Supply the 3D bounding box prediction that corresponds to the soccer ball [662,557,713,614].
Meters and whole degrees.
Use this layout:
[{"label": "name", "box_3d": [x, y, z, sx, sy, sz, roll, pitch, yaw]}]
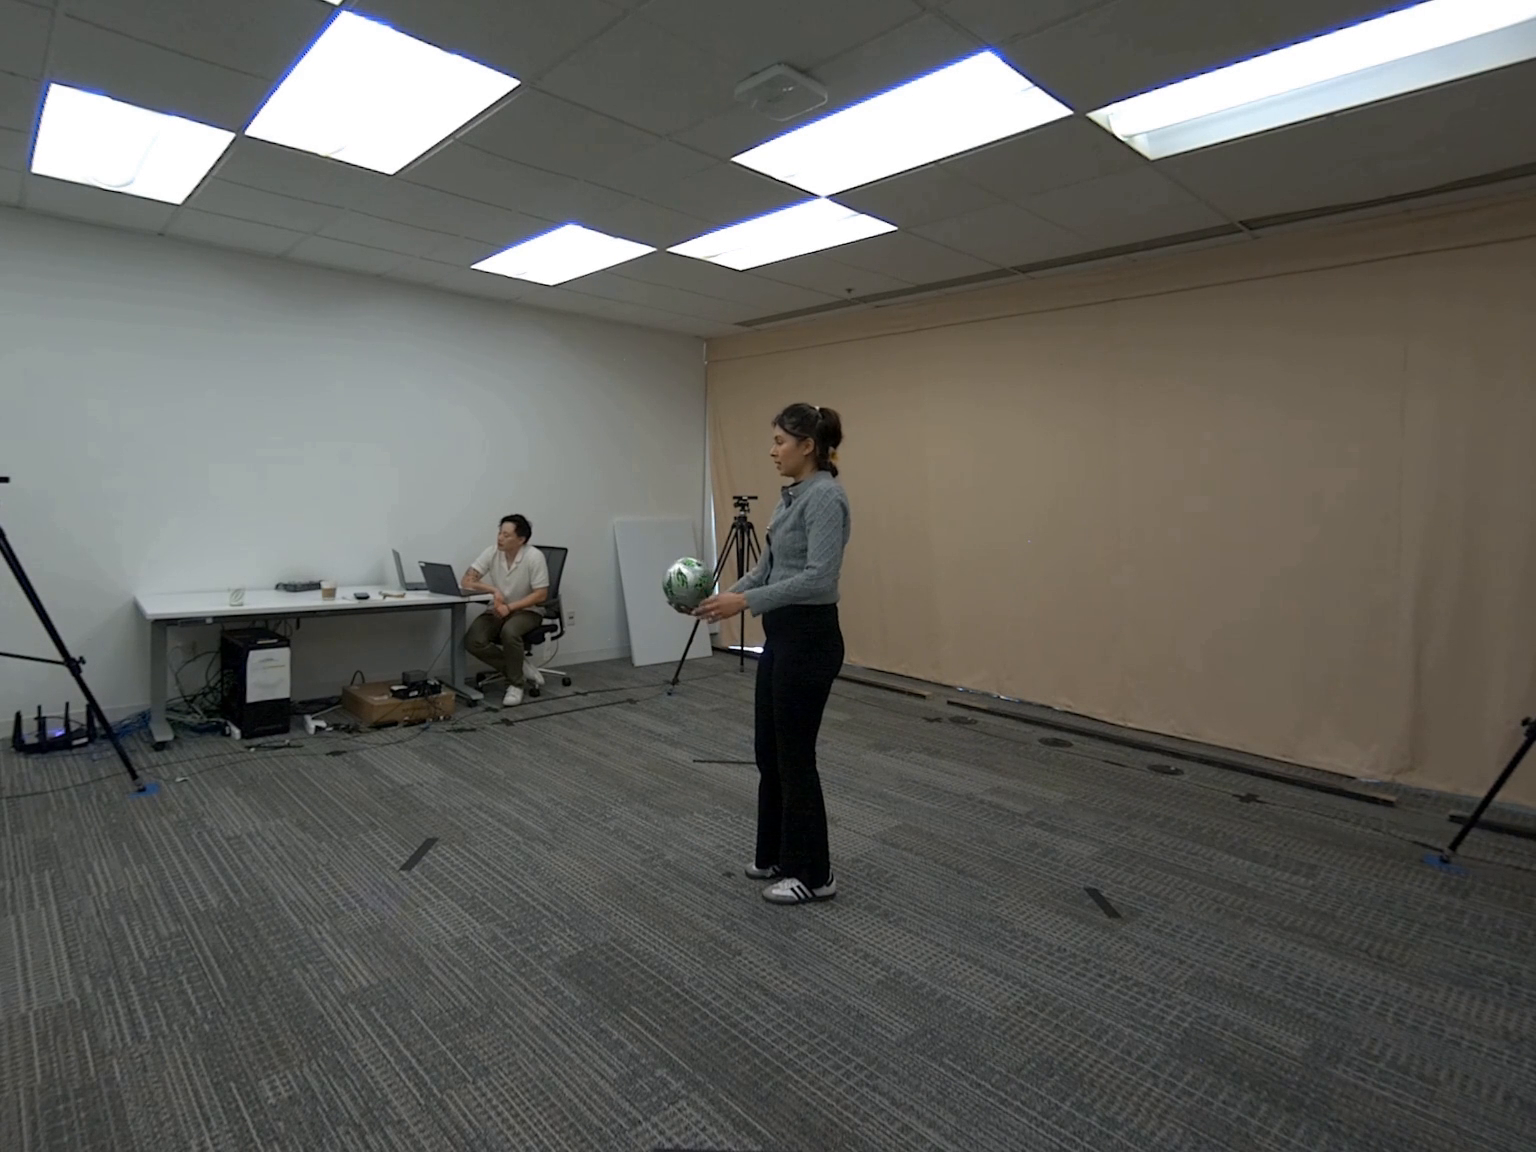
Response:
[{"label": "soccer ball", "box_3d": [-0.288, 0.024, 3.034, 0.187, 0.187, 0.188, 1, 4, -1]}]
